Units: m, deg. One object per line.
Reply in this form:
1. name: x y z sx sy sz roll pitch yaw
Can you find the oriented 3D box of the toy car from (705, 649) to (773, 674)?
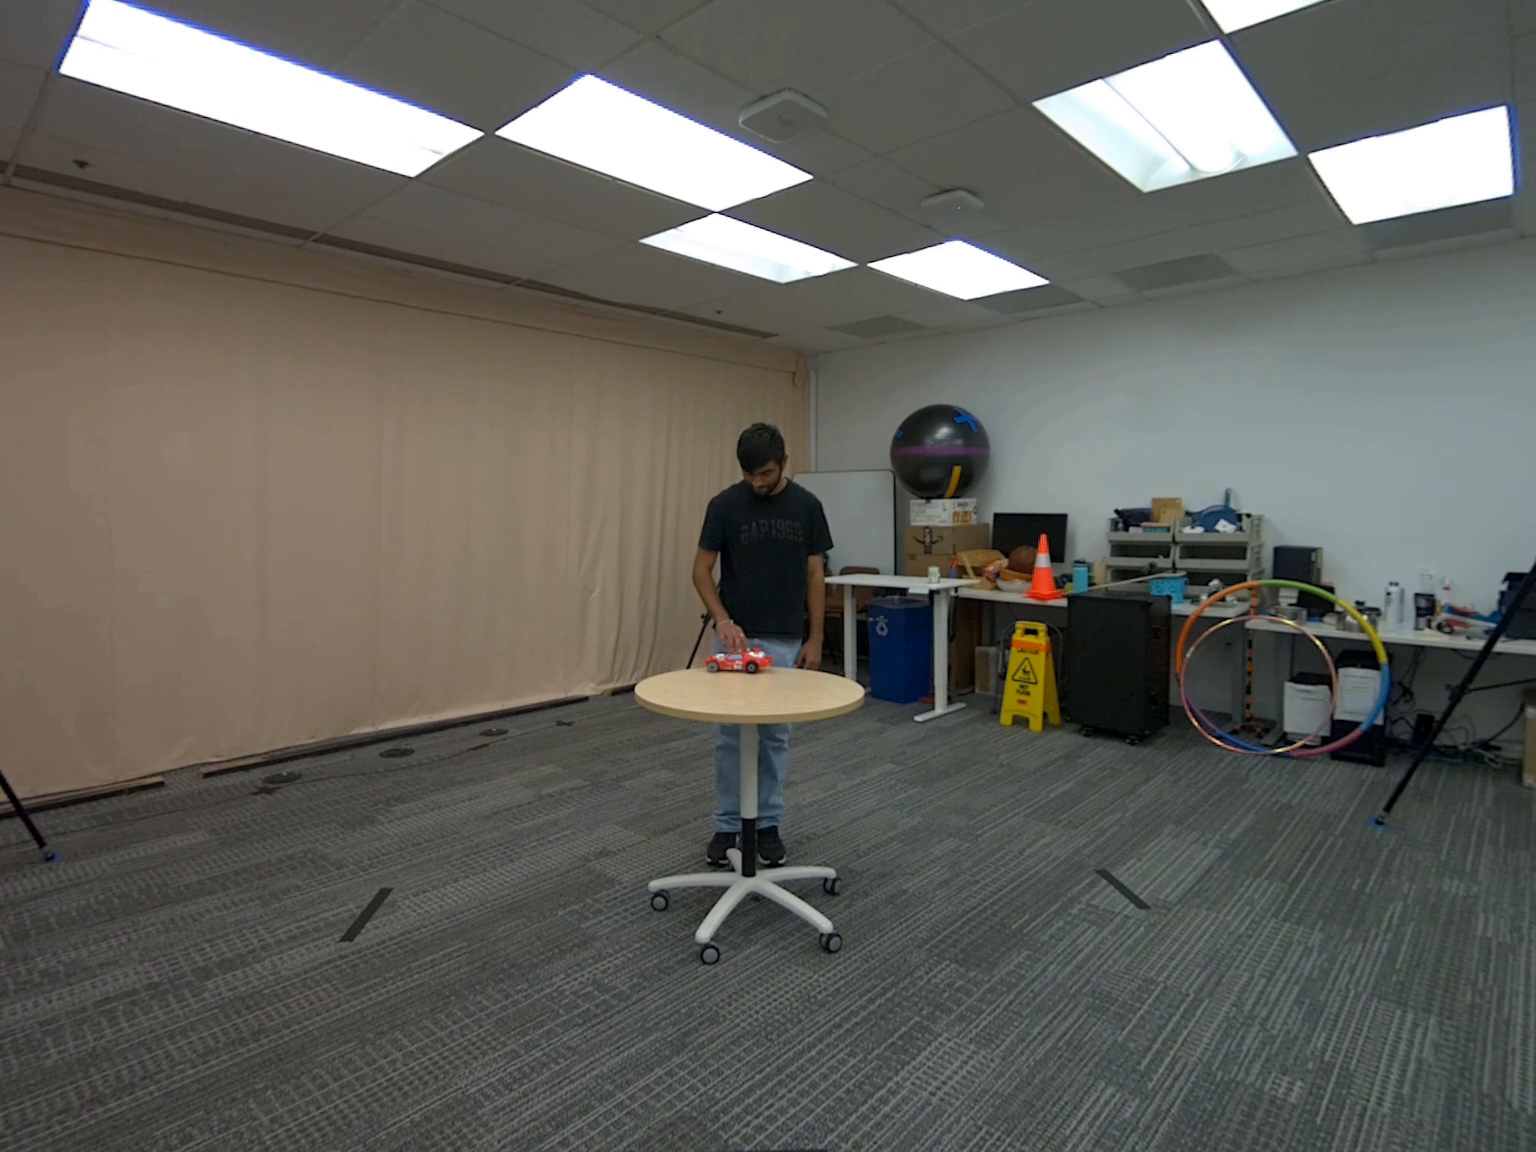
1. toy car: -0.100 0.318 3.116 0.257 0.083 0.129 -10 2 11
